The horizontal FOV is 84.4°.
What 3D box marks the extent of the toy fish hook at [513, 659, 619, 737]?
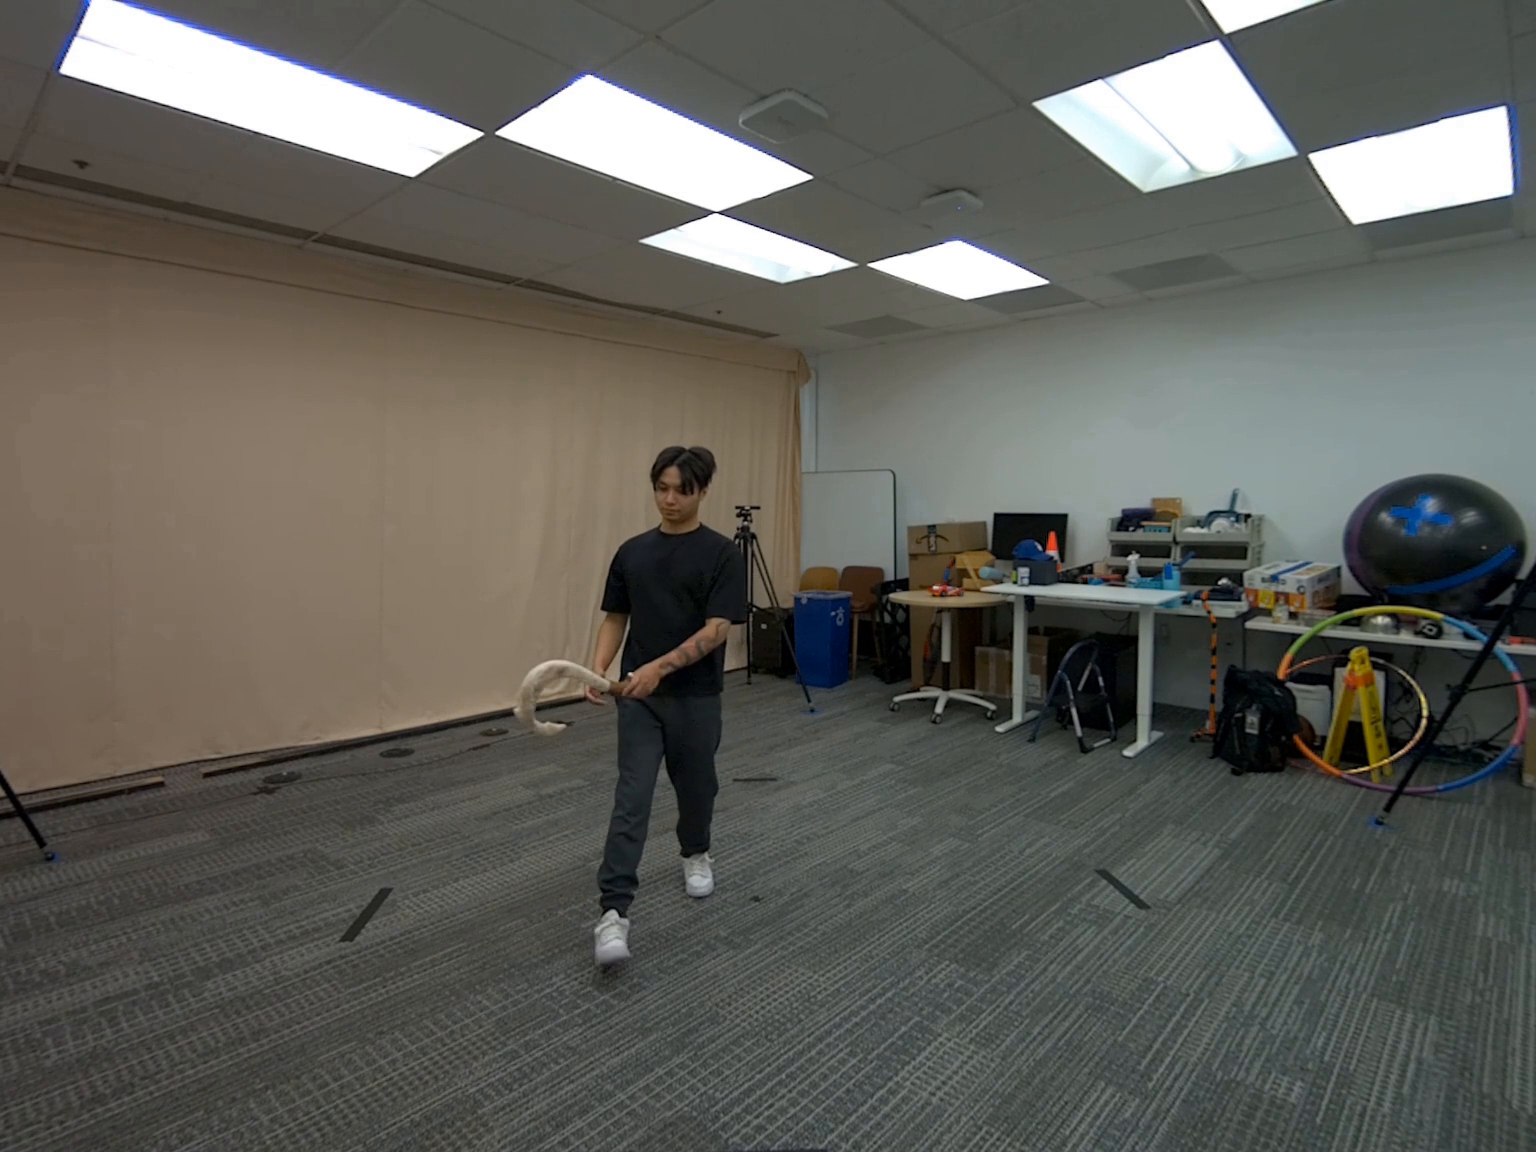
[{"bbox_3d":[-0.532,0.380,2.499,0.050,0.224,0.489,25,6,40],"label":"toy fish hook"}]
